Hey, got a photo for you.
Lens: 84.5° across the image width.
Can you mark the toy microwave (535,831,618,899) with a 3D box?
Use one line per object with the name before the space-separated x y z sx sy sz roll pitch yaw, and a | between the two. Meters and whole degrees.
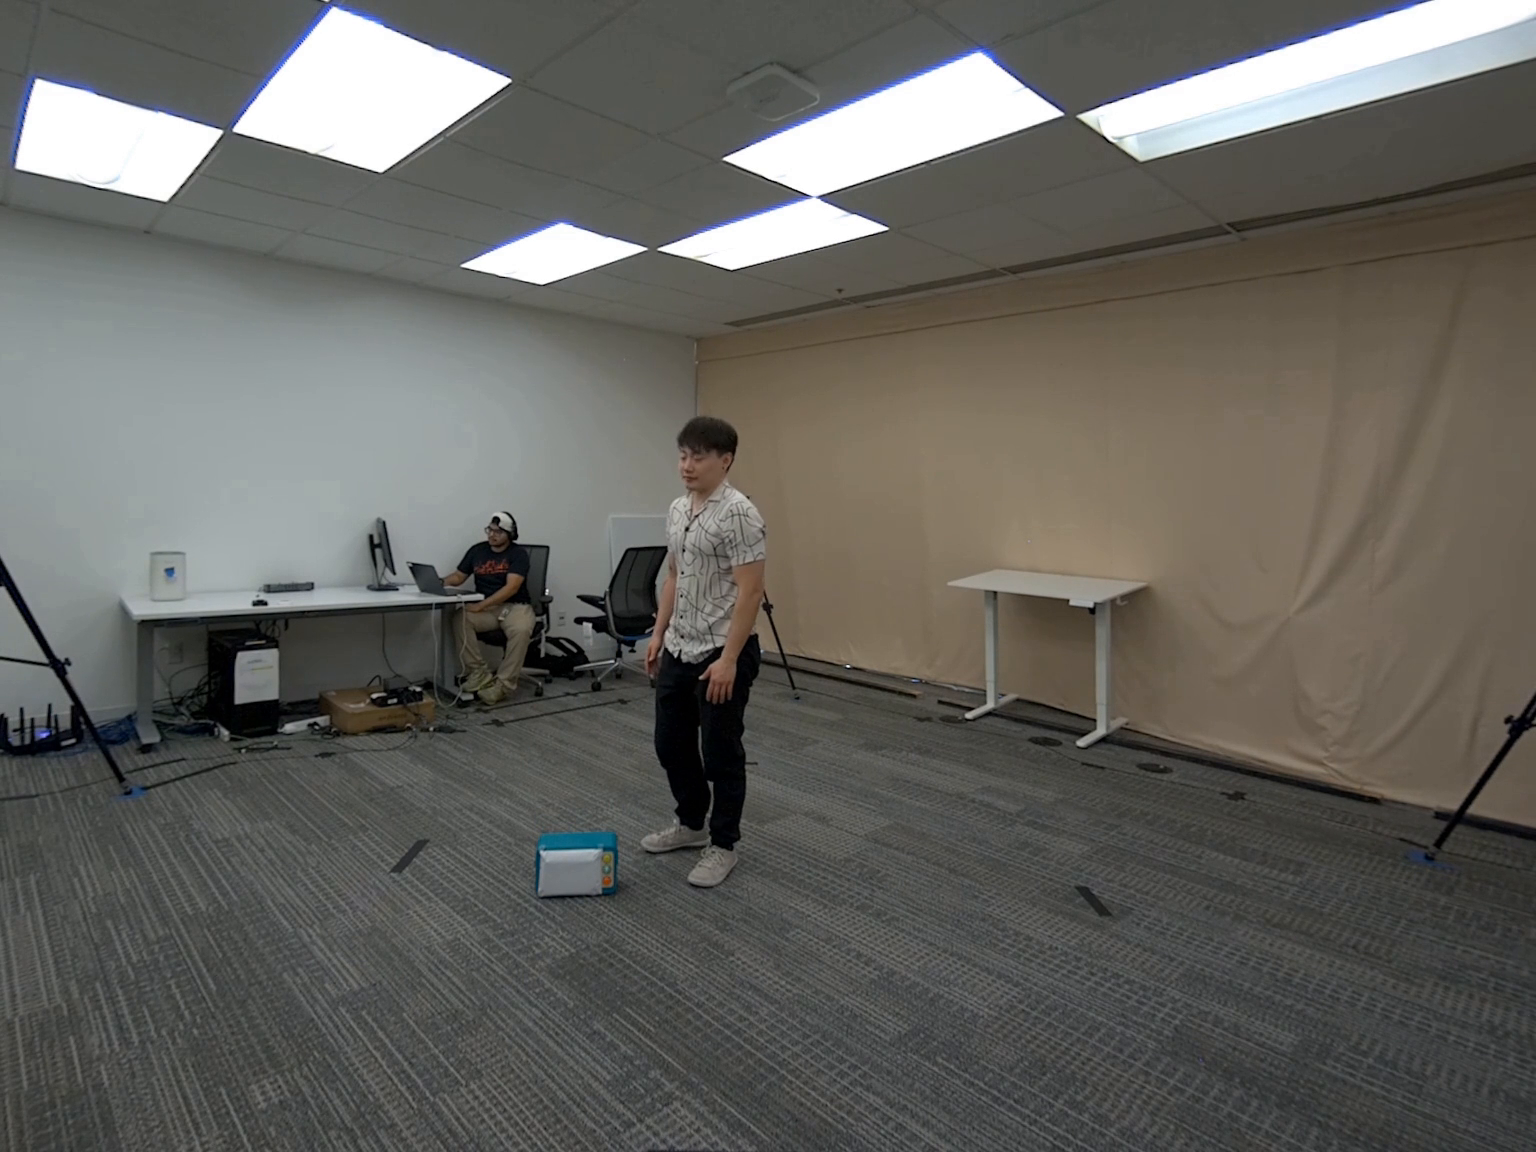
toy microwave | -0.678 1.014 2.948 0.284 0.183 0.154 1 4 -9
